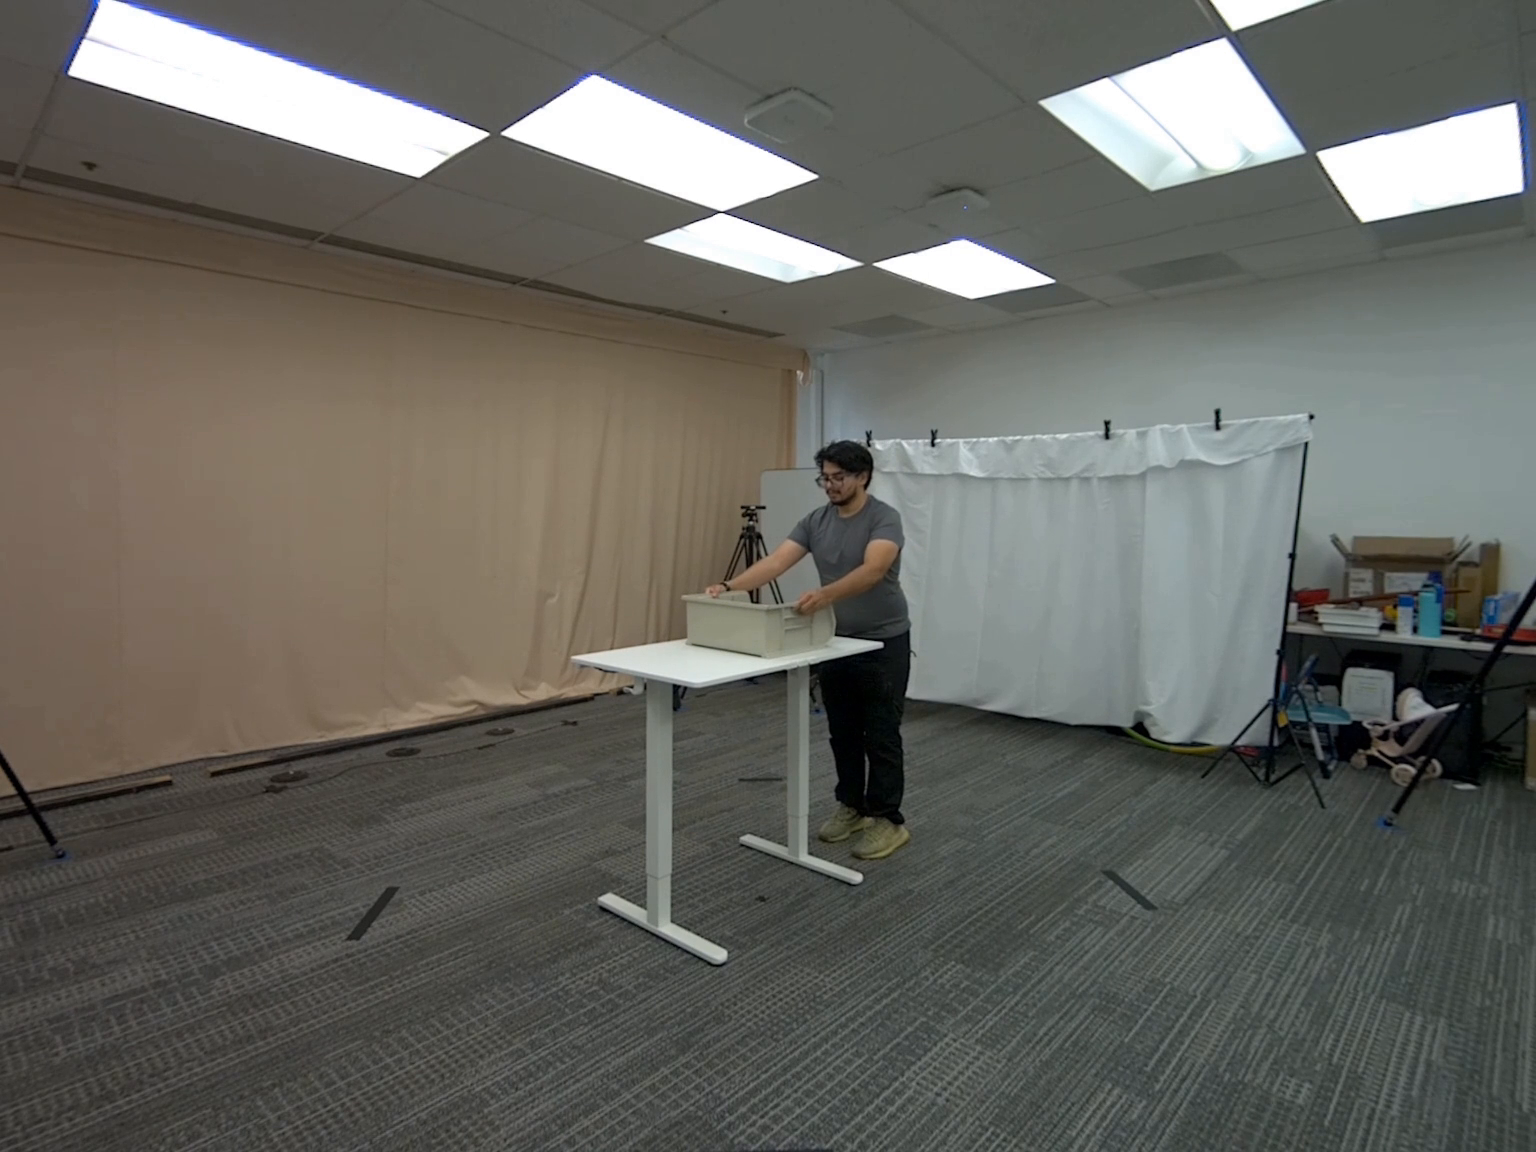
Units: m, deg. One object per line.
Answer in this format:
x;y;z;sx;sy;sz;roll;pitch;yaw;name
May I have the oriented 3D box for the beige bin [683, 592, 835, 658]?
-0.032;0.169;3.066;0.437;0.188;0.366;5;9;43;beige bin
